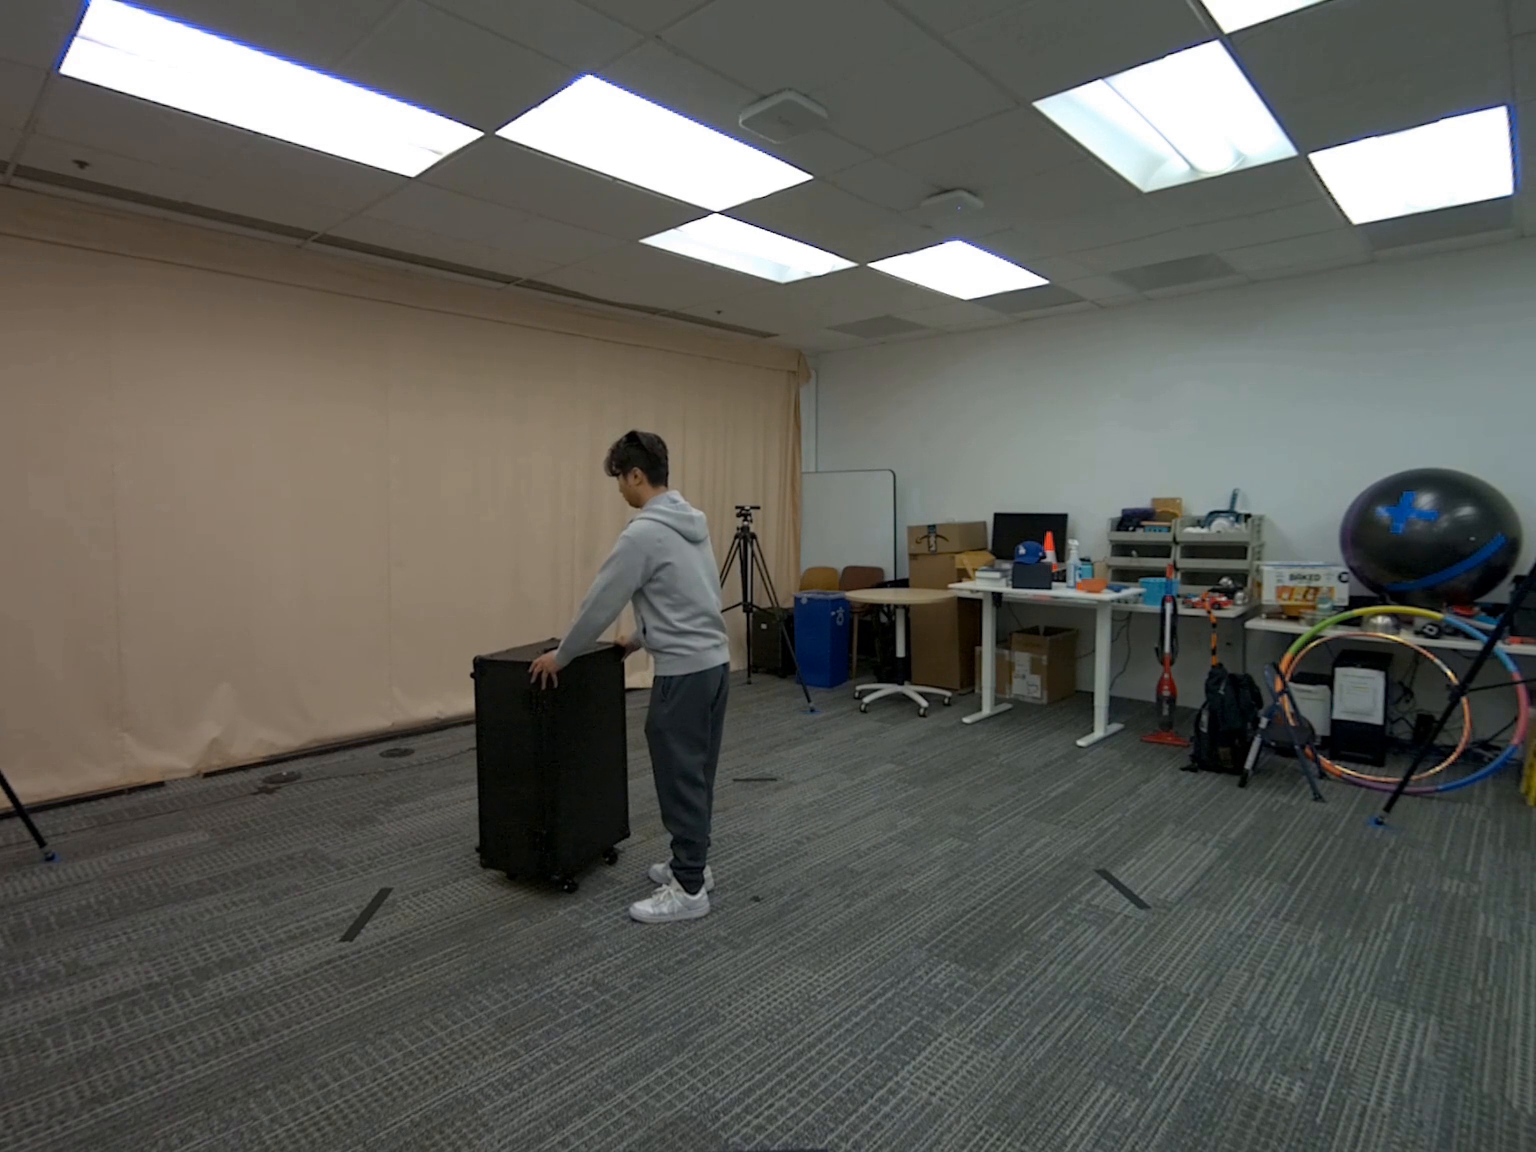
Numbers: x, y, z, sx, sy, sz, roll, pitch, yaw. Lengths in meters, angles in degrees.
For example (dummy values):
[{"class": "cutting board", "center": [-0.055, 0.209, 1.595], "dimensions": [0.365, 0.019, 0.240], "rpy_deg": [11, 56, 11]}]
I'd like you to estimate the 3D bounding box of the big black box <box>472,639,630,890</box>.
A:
[{"class": "big black box", "center": [-0.829, 0.701, 3.233], "dimensions": [0.406, 0.860, 0.509], "rpy_deg": [0, 3, 25]}]
